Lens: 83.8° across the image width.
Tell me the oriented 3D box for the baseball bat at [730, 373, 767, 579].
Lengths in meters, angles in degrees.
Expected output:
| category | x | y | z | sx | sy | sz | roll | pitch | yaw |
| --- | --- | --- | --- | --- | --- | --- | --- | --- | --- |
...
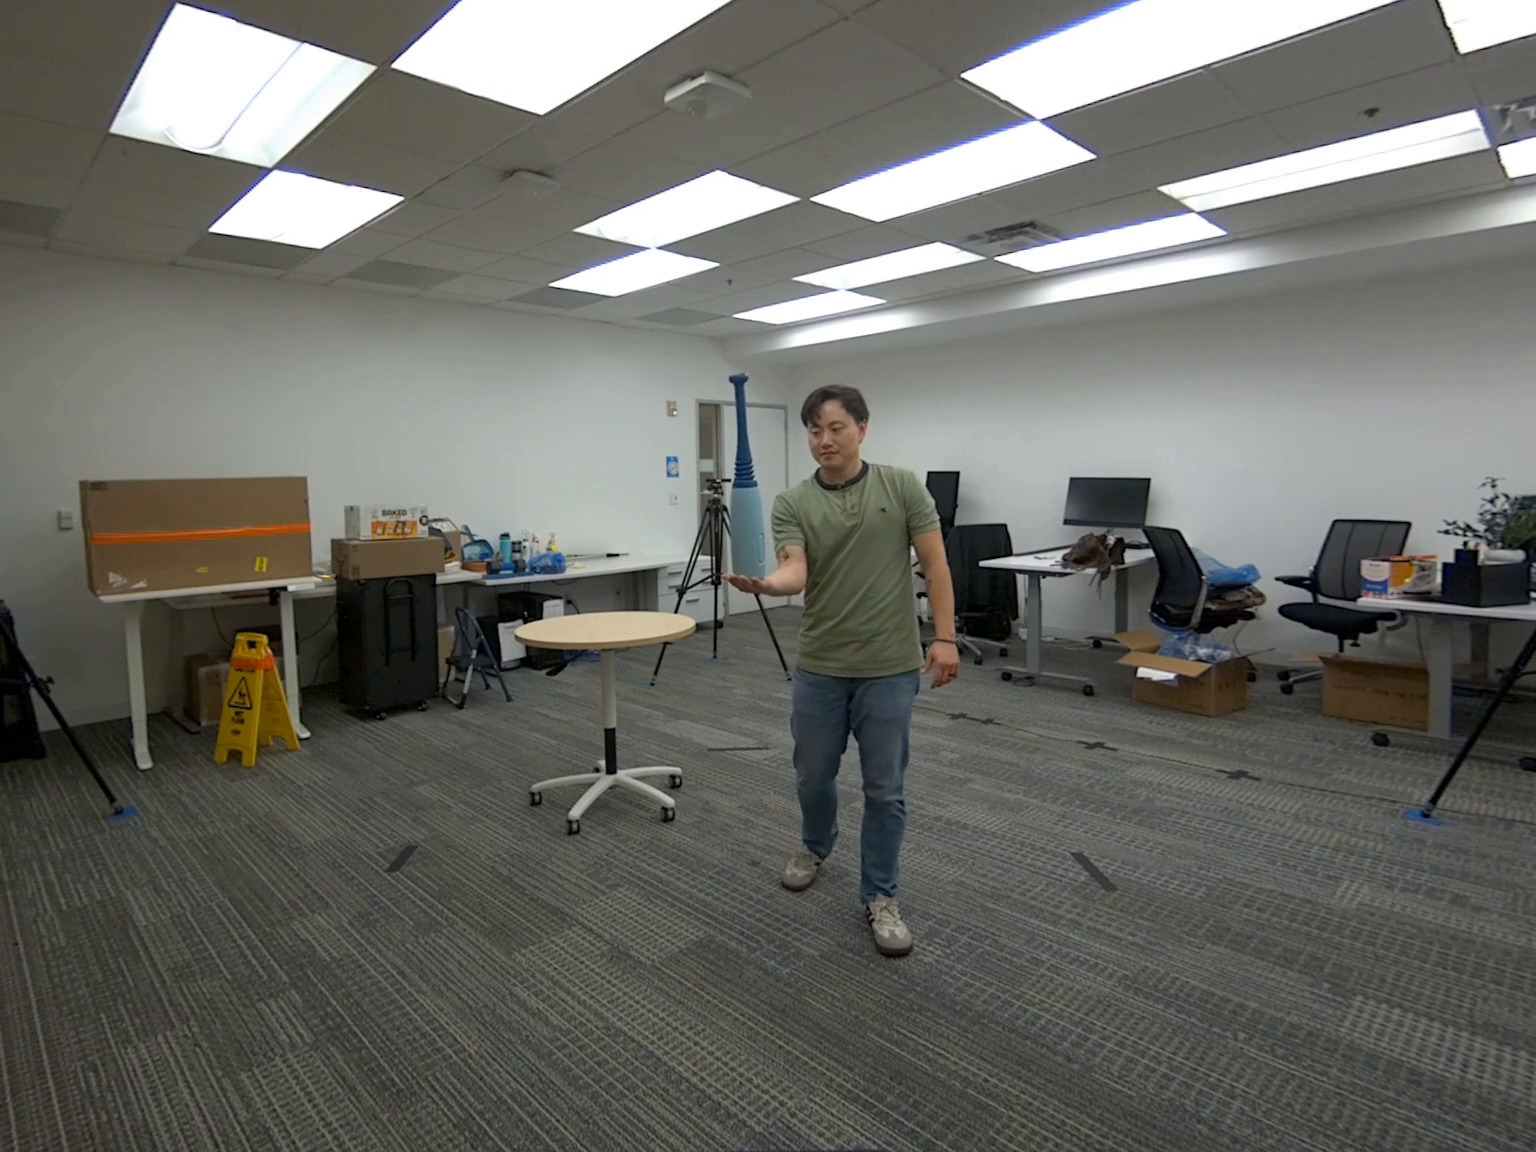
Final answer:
| category | x | y | z | sx | sy | sz | roll | pitch | yaw |
| --- | --- | --- | --- | --- | --- | --- | --- | --- | --- |
| baseball bat | -0.075 | -0.249 | 2.226 | 0.089 | 0.538 | 0.090 | -3 | 9 | -1 |
